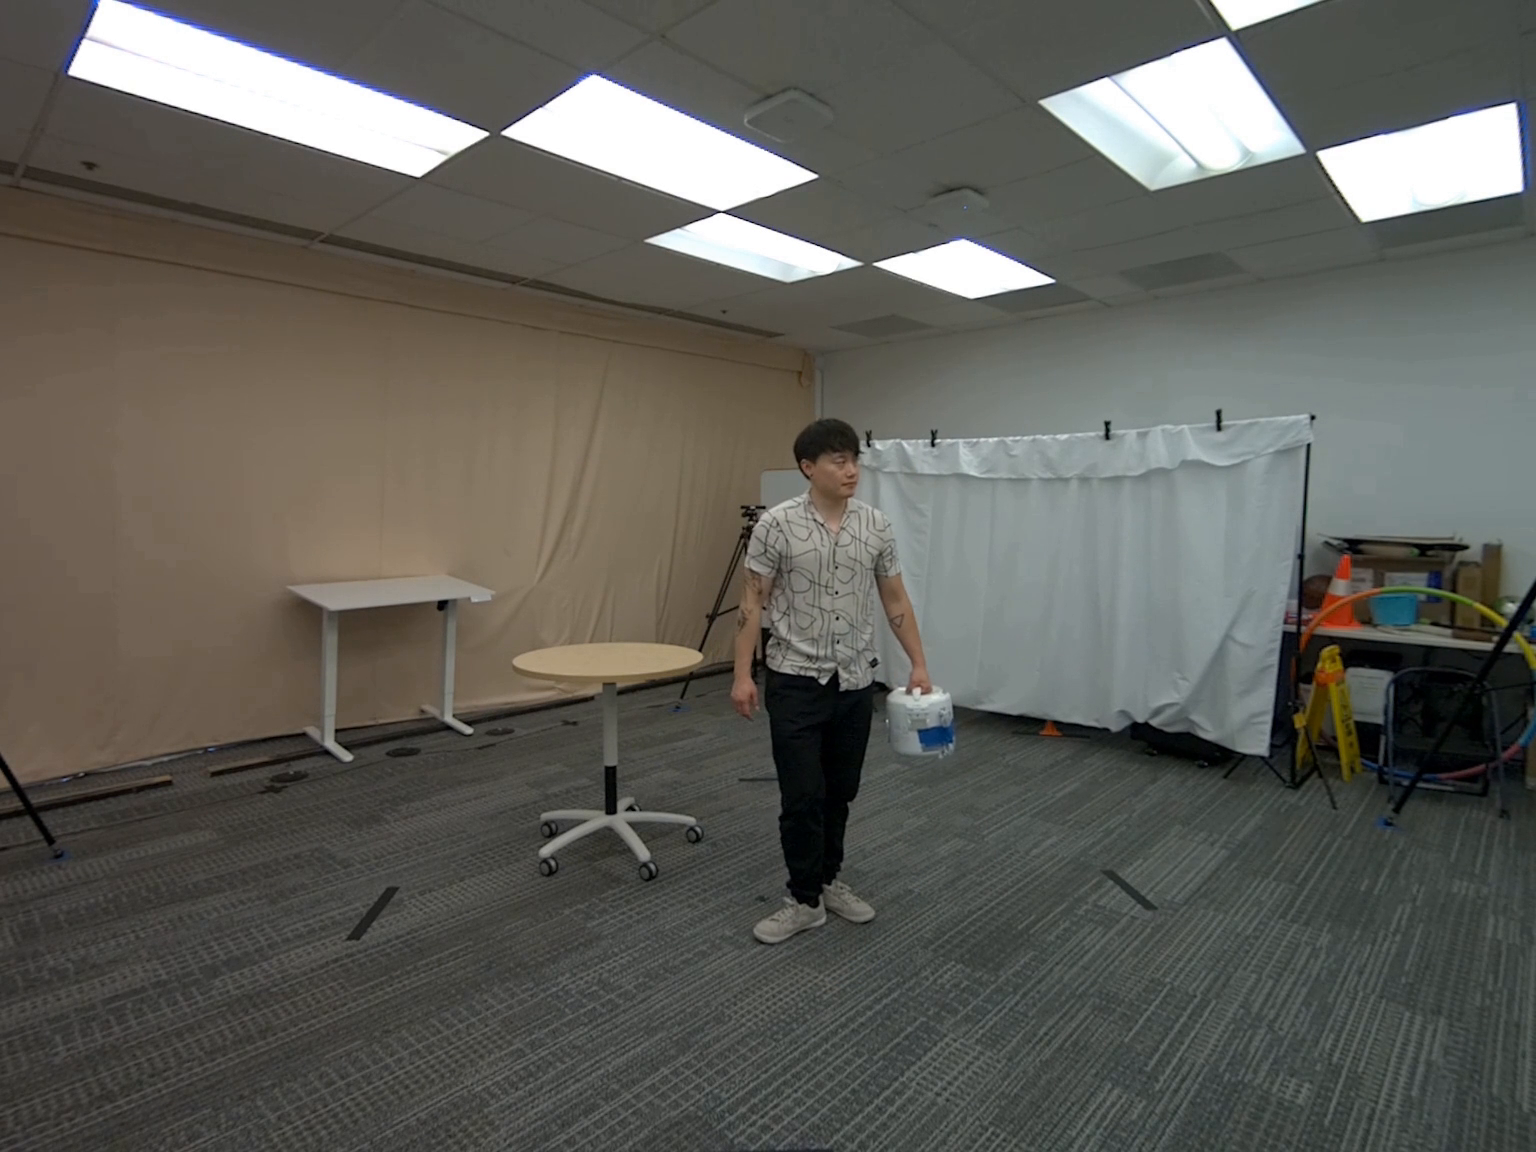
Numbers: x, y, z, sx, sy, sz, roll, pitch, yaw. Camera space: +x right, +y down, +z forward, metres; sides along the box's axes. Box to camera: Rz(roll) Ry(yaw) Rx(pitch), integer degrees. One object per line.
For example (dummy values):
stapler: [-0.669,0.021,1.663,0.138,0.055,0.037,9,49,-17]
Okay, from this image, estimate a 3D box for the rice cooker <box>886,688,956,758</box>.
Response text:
rice cooker: [0.505,0.471,2.778,0.221,0.232,0.217,-4,3,15]
